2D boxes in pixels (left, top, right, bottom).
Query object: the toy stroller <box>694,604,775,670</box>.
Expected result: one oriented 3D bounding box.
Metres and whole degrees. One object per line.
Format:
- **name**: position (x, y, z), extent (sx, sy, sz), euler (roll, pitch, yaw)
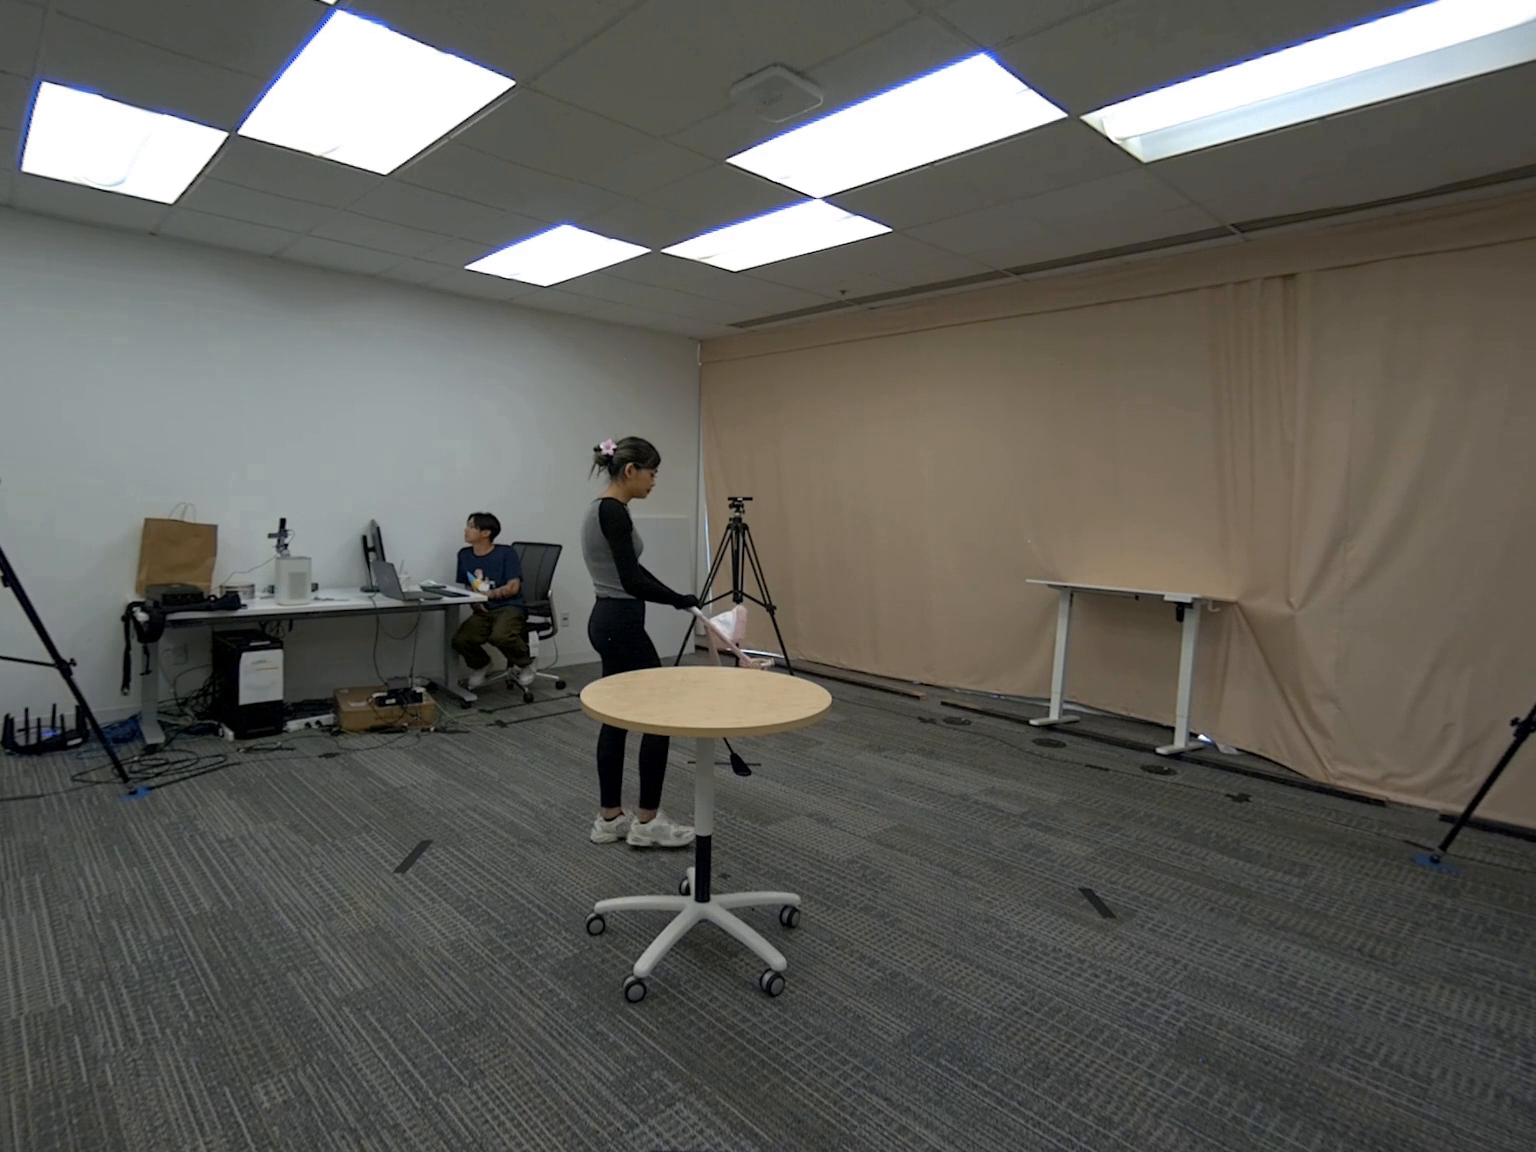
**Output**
- **toy stroller**: position (-0.148, 0.359, 3.401), extent (0.340, 0.535, 0.282), euler (-4, 0, -4)
